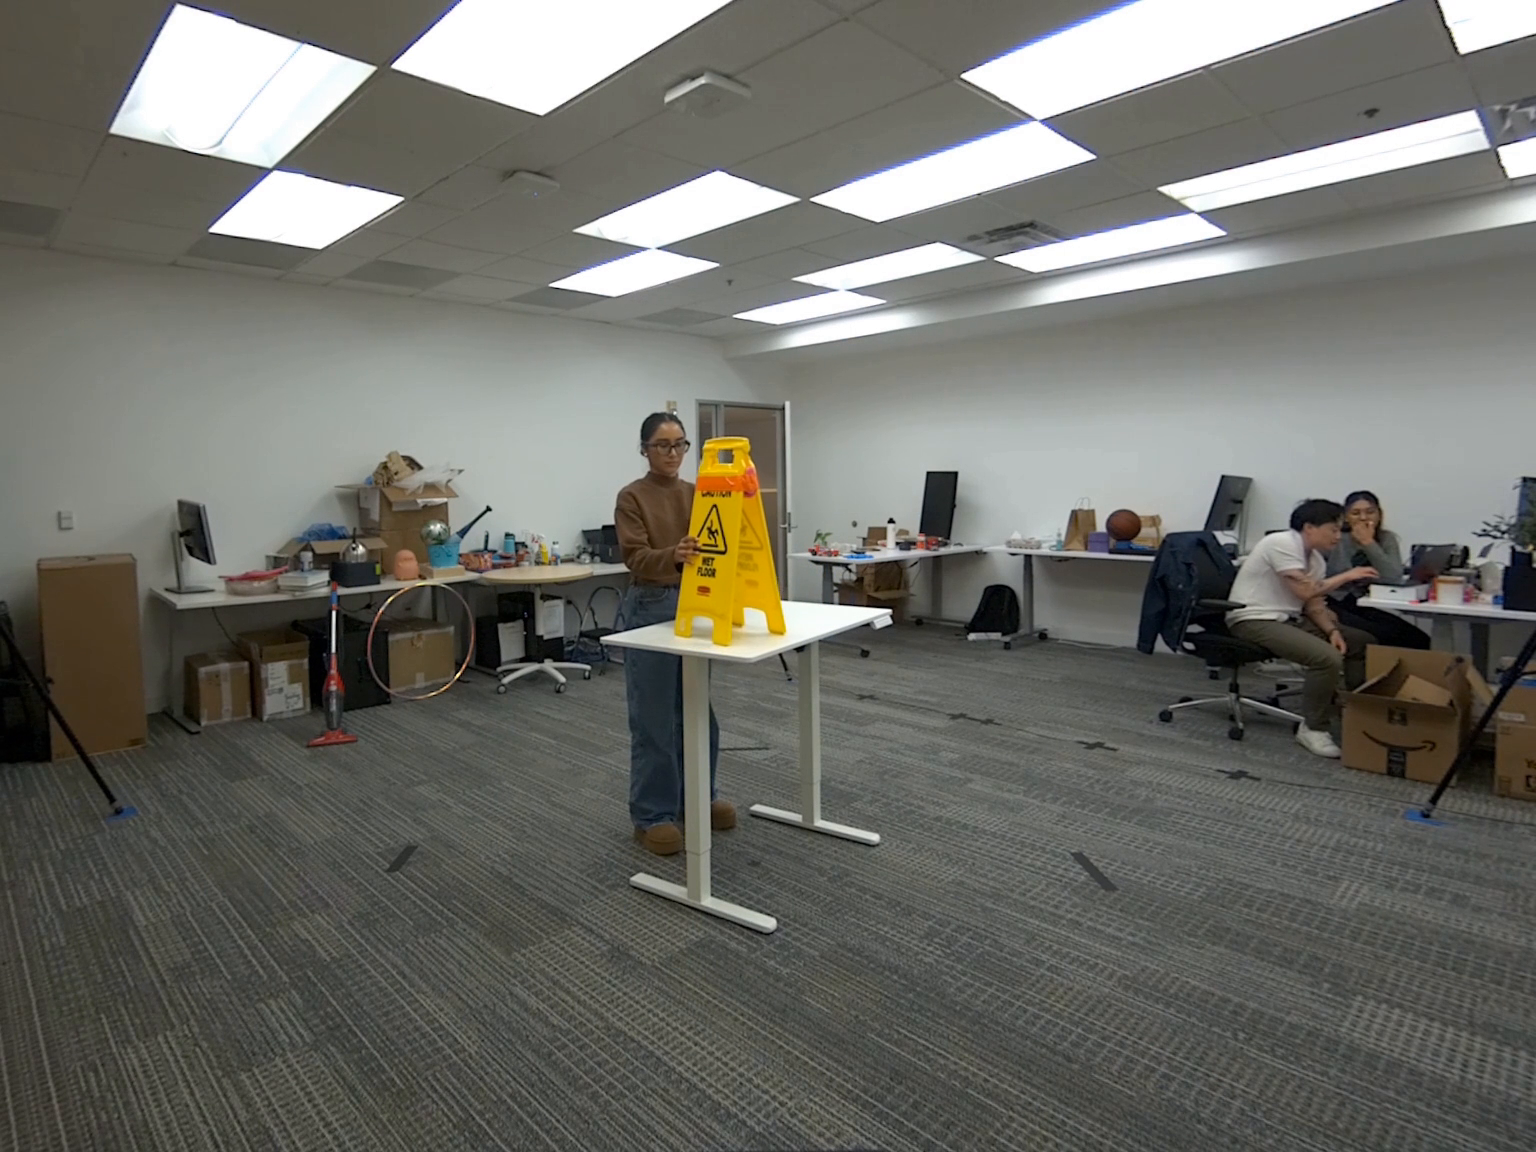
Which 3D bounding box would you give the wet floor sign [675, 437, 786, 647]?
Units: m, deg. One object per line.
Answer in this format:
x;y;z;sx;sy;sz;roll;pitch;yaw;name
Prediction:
-0.127;-0.126;2.813;0.282;0.644;0.291;-4;6;-43;wet floor sign
